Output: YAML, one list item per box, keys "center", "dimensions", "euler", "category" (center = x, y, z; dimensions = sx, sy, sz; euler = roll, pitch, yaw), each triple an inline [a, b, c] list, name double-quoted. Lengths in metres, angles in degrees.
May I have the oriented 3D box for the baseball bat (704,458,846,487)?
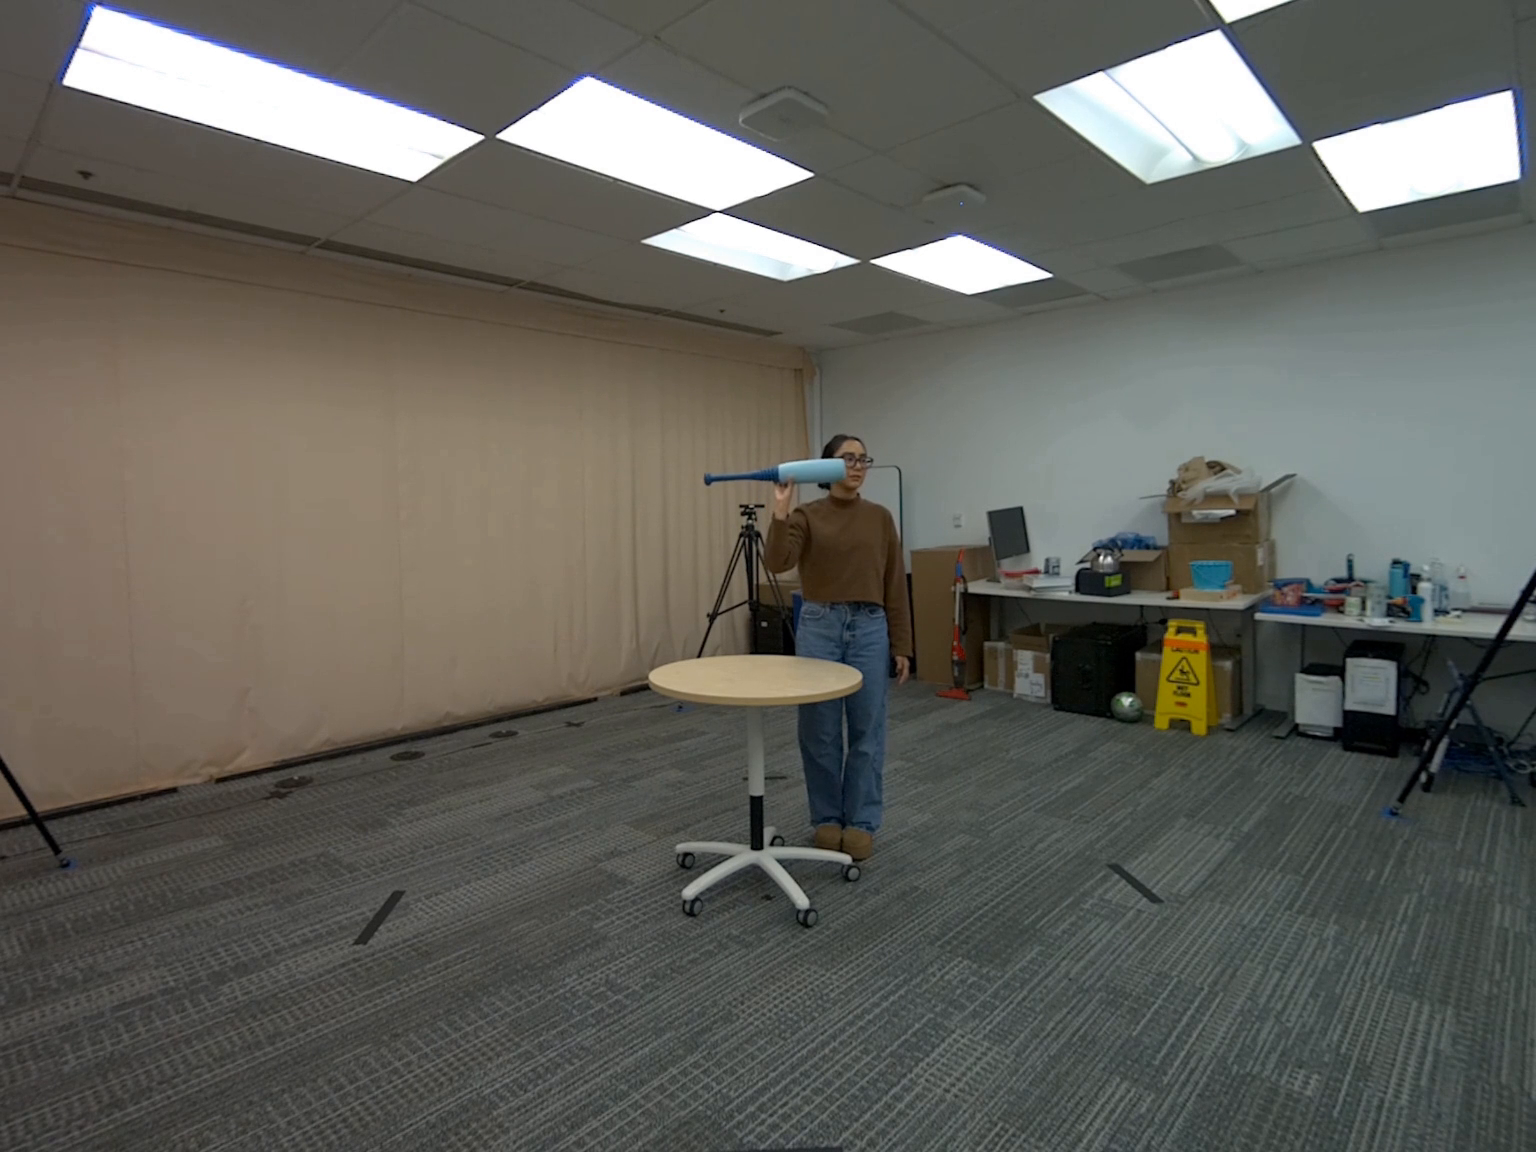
- center: [0.023, -0.383, 3.210]
  dimensions: [0.548, 0.089, 0.088]
  euler: [-3, 3, 9]
  category: "baseball bat"
